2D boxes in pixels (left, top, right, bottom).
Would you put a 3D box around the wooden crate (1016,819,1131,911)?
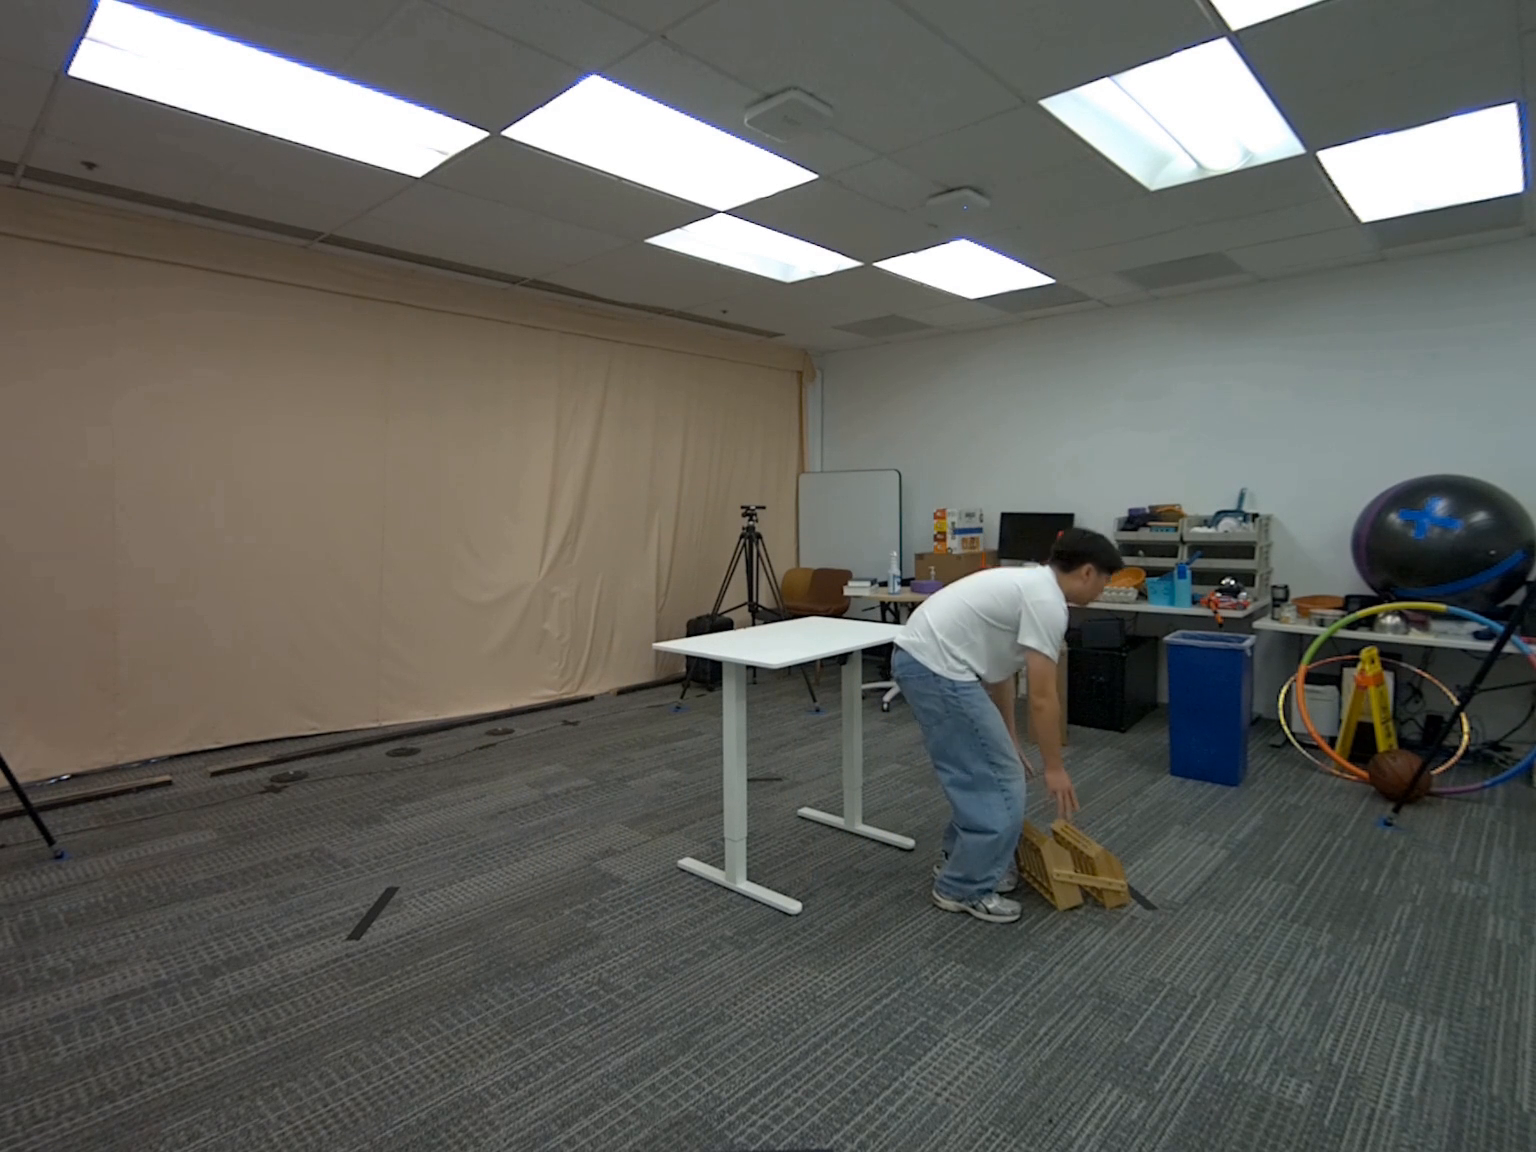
[{"bbox_3d":[1.088,1.007,3.031,0.272,0.300,0.328,-17,6,-6],"label":"wooden crate"}]
